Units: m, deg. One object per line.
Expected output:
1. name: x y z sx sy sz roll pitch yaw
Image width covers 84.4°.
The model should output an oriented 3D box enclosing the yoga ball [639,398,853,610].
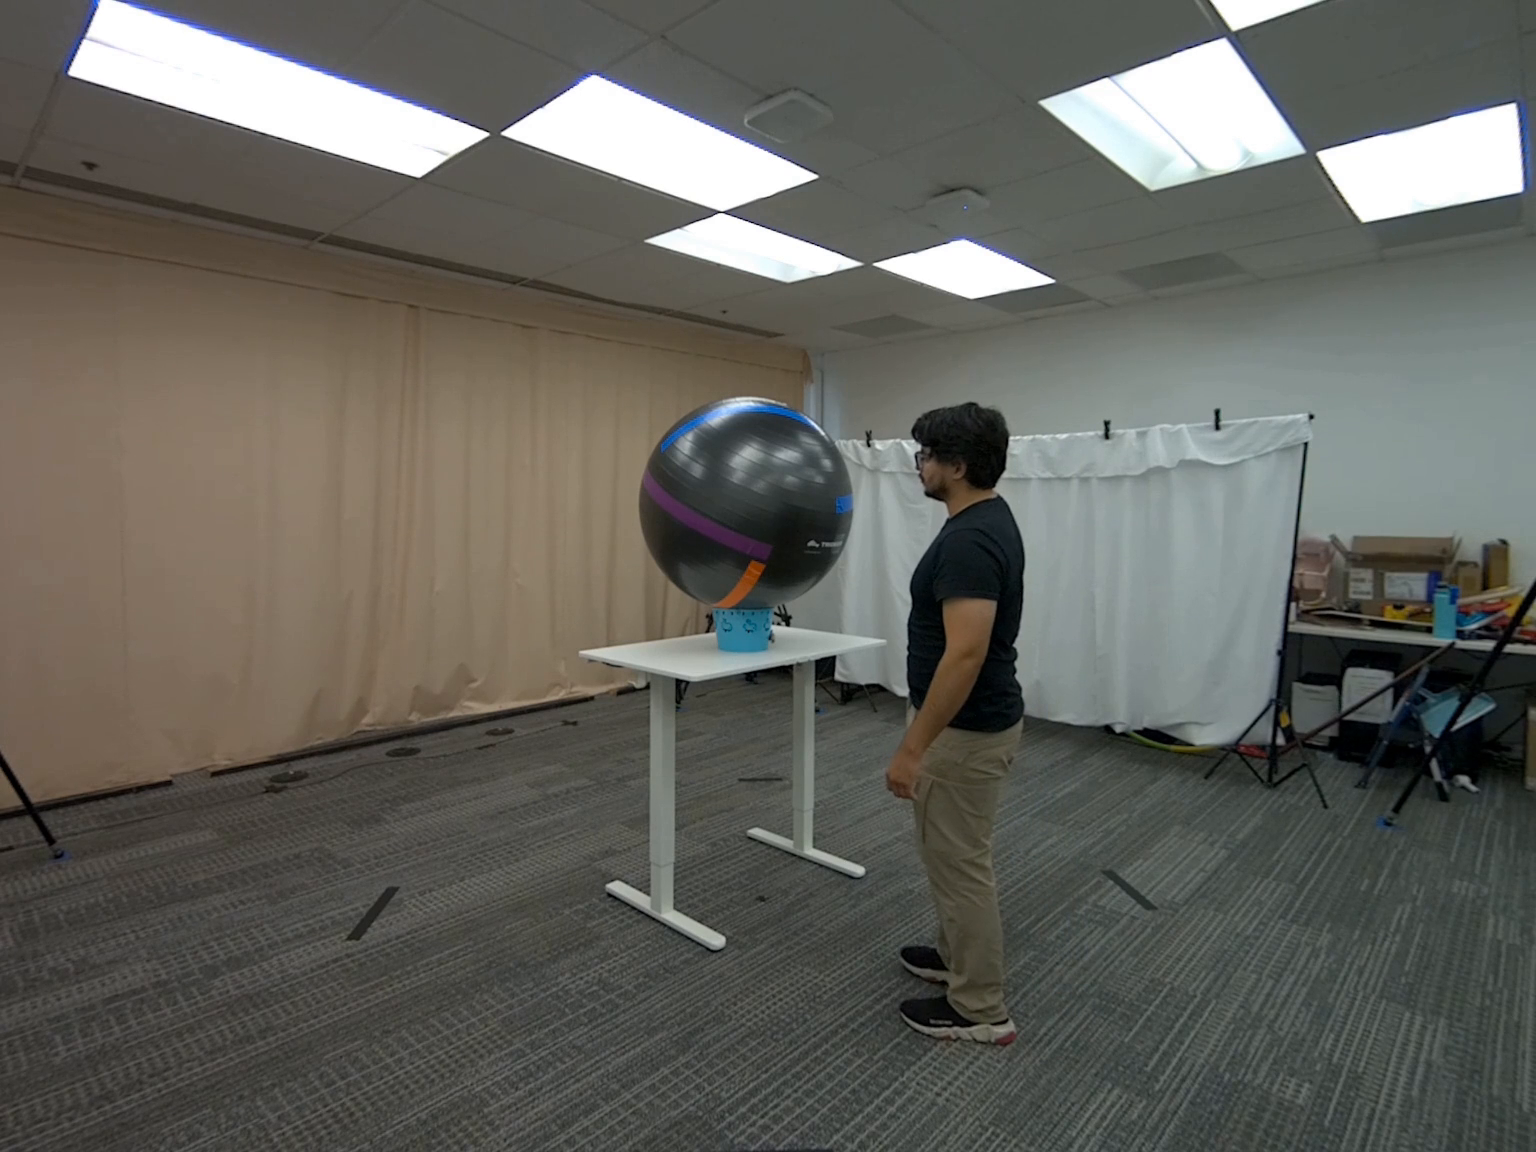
1. yoga ball: -0.071 -0.248 2.989 0.757 0.756 0.760 0 4 -2
